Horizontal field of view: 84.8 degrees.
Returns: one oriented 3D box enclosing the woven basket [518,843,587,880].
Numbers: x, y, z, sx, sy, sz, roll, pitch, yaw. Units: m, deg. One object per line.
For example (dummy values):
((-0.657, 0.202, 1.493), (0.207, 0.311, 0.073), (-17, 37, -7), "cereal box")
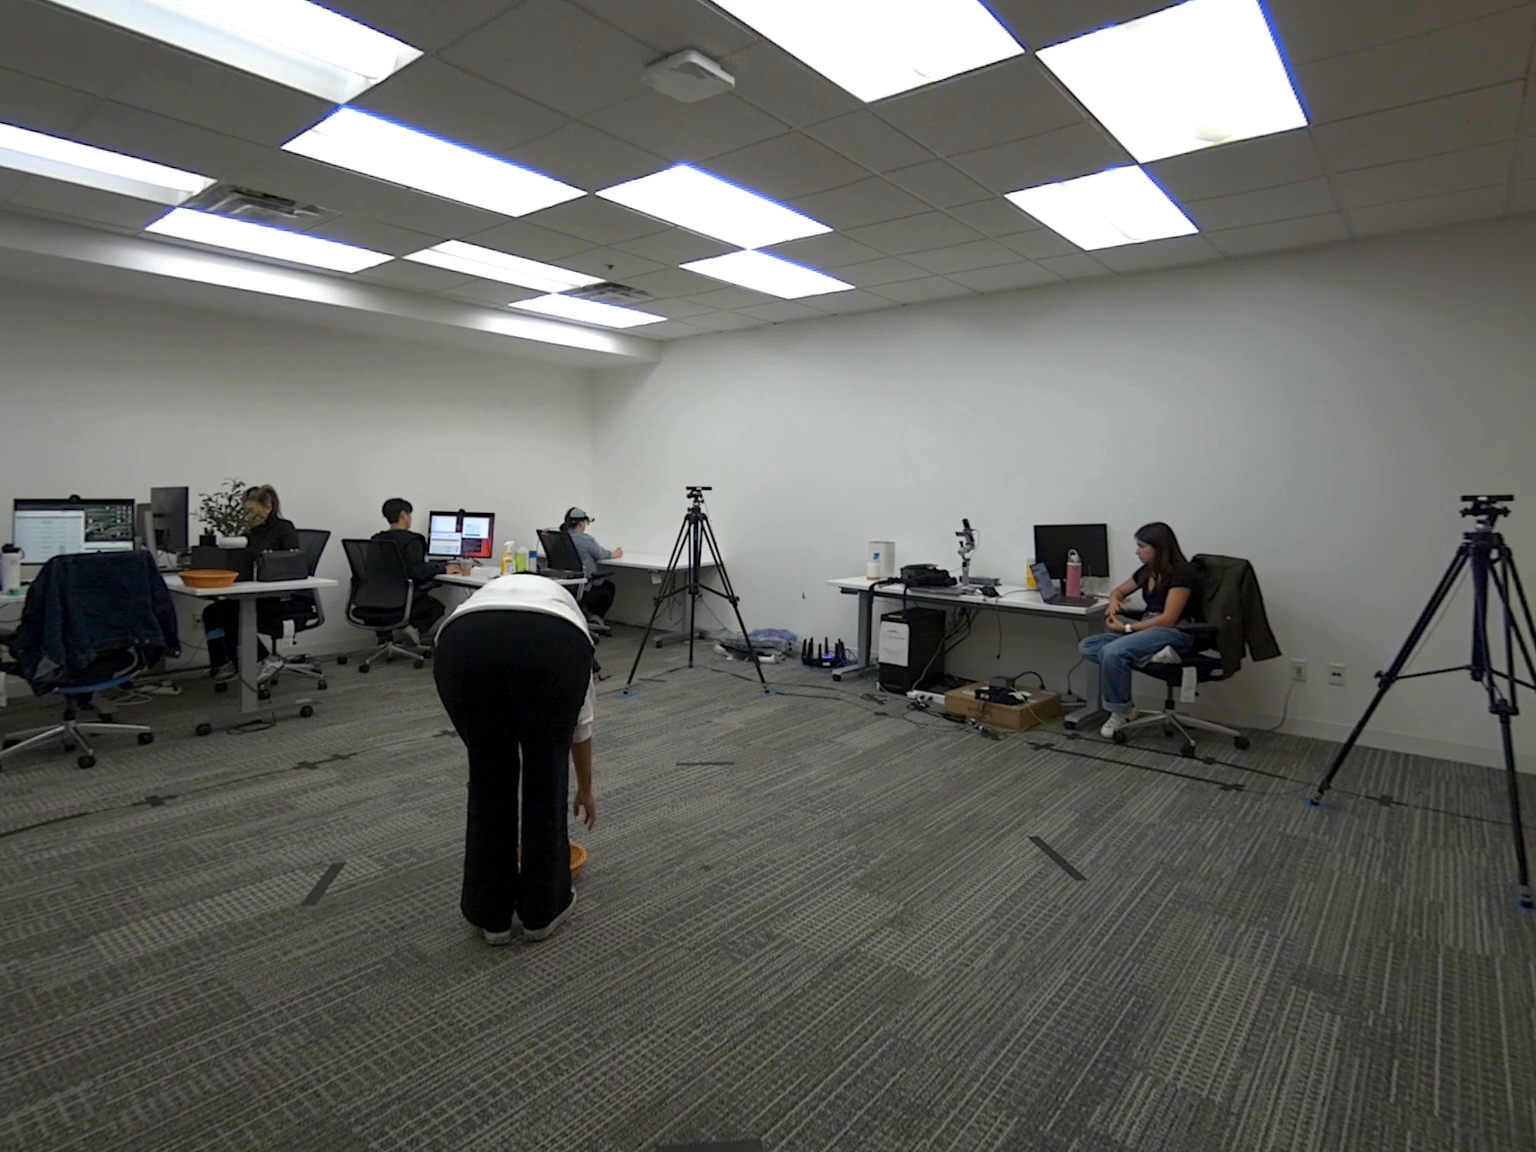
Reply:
((-0.818, 1.016, 3.025), (0.349, 0.073, 0.255), (1, 8, -4), "woven basket")
